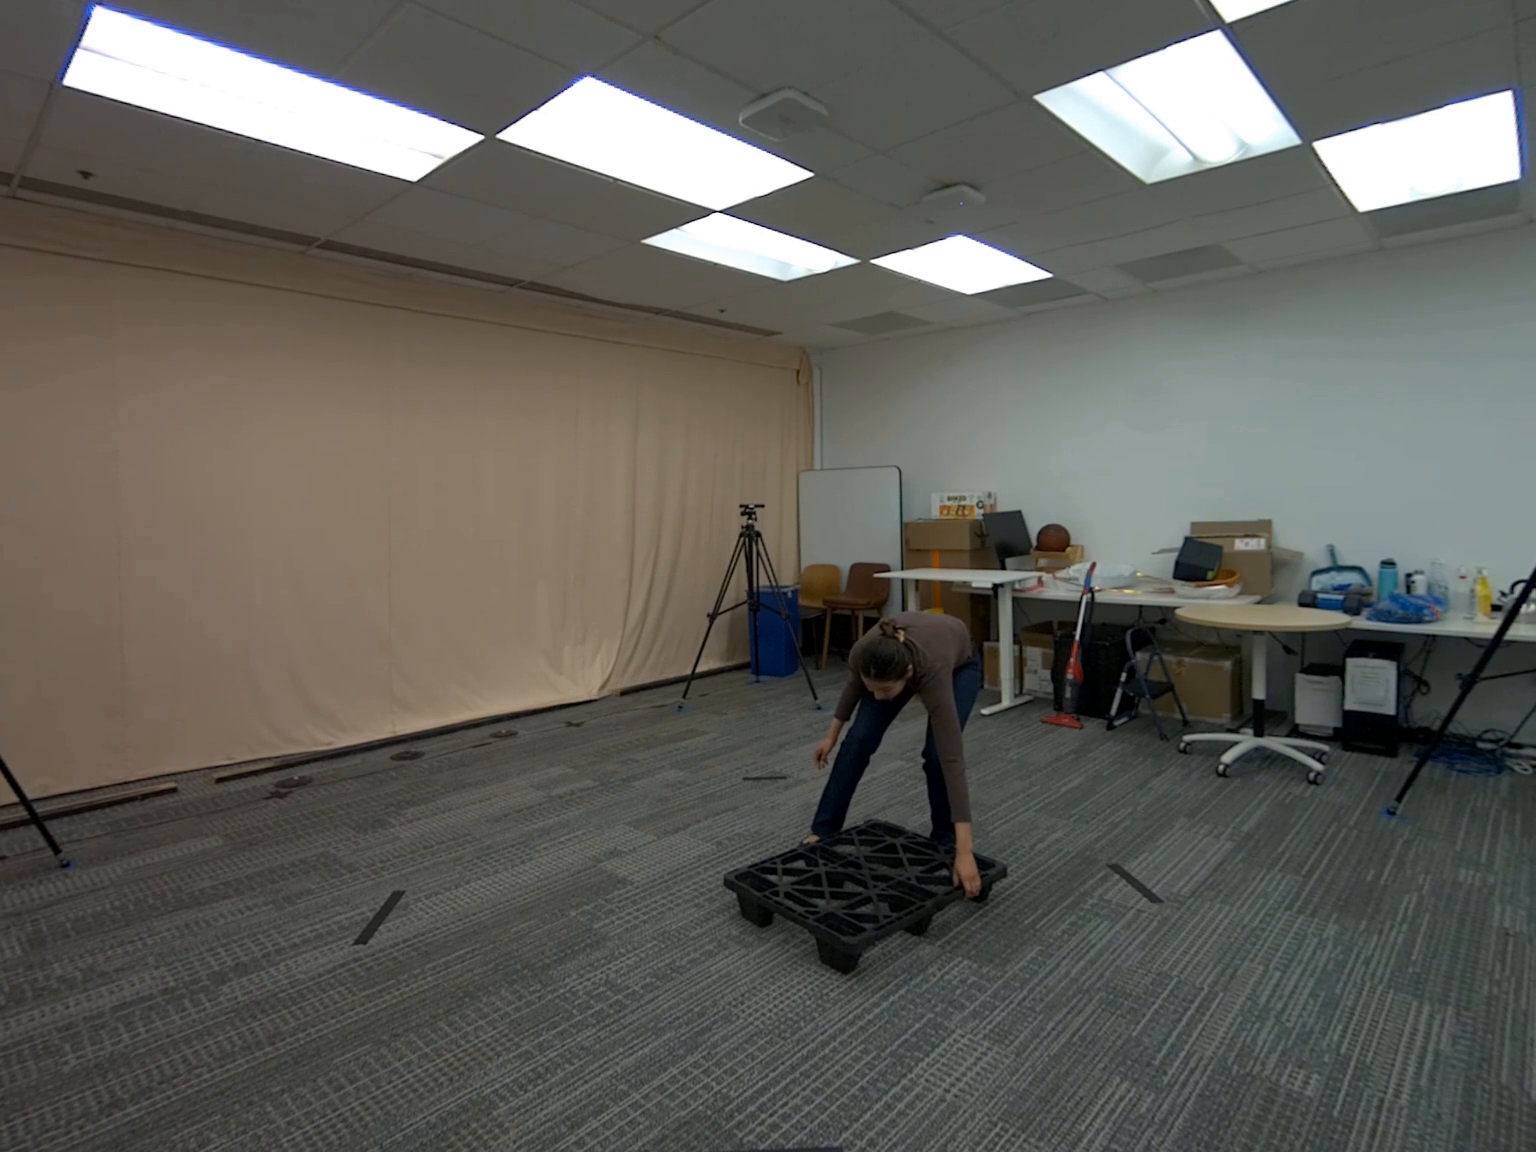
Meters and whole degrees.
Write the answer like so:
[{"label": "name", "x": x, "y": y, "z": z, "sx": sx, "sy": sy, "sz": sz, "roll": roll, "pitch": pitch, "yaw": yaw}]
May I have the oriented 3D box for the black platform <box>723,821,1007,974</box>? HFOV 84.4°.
[{"label": "black platform", "x": 0.335, "y": 1.072, "z": 2.887, "sx": 0.781, "sy": 0.143, "sz": 0.625, "roll": -5, "pitch": 5, "yaw": -40}]
